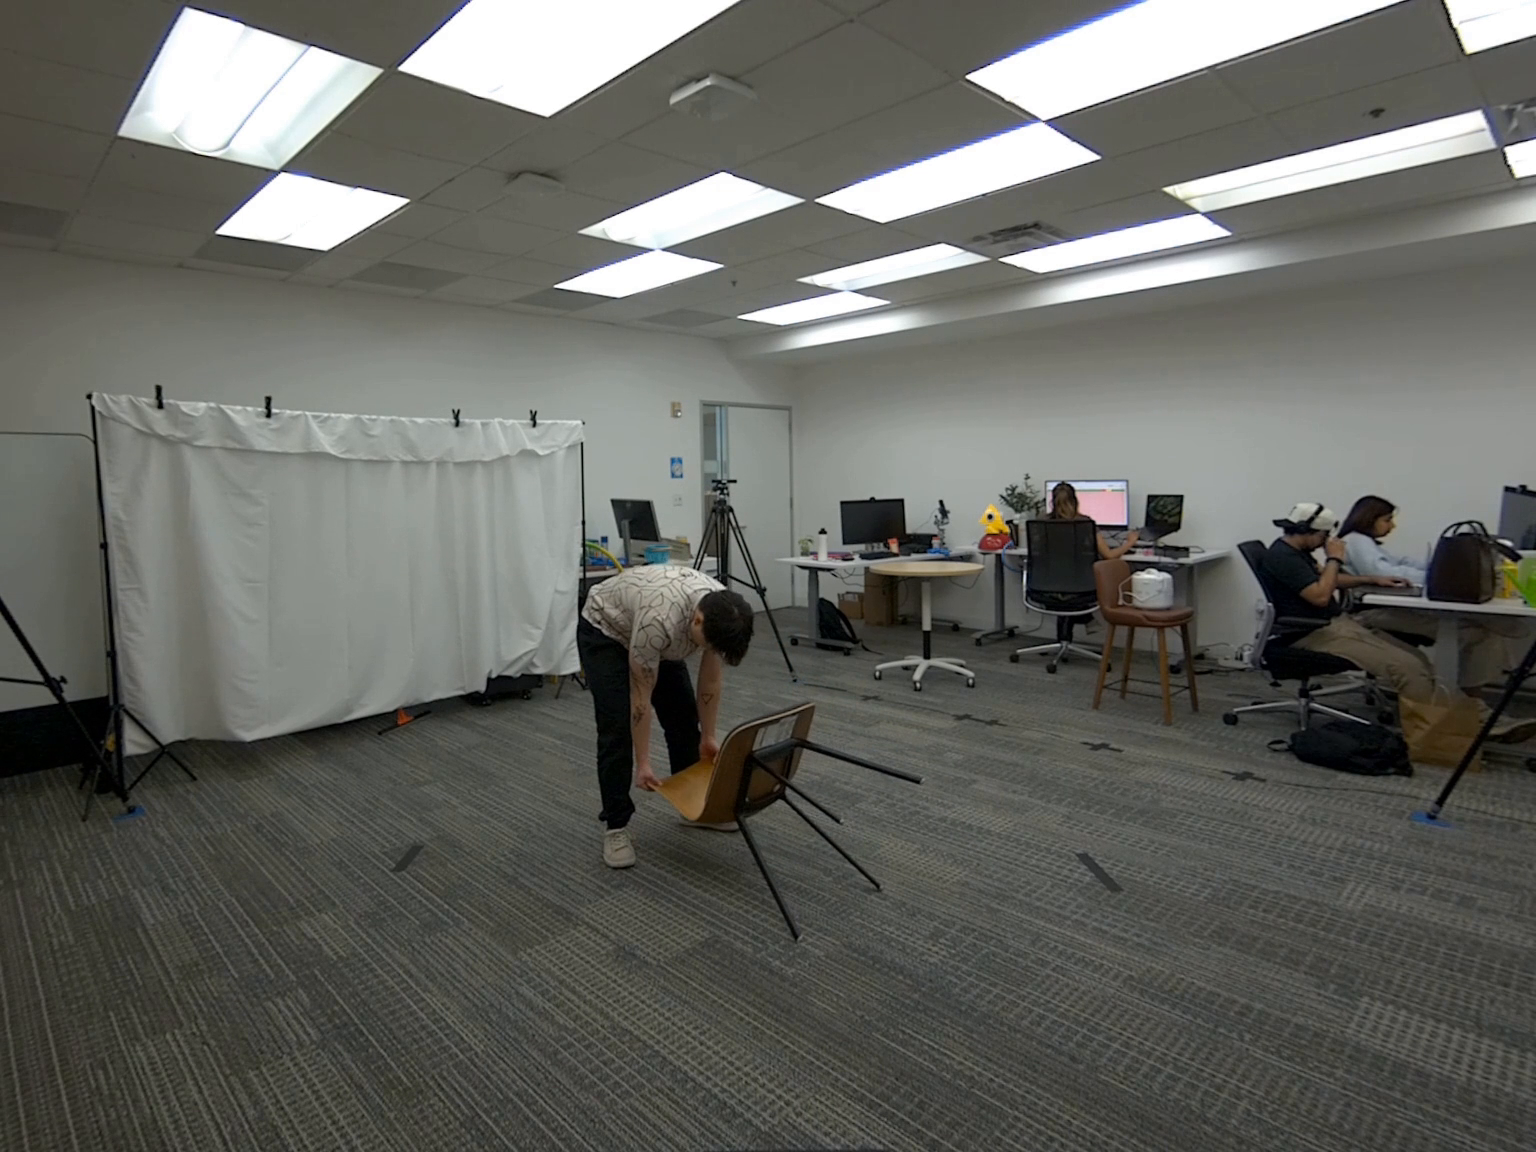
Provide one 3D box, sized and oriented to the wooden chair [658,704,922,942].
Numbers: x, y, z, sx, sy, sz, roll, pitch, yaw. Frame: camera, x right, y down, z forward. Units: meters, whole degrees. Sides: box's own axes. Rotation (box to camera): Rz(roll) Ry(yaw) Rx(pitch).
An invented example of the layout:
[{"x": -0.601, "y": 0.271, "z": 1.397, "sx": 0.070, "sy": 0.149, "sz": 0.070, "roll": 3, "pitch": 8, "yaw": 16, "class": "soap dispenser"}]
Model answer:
[{"x": -0.013, "y": 0.686, "z": 2.939, "sx": 0.466, "sy": 0.517, "sz": 0.911, "roll": -7, "pitch": 25, "yaw": -45, "class": "wooden chair"}]
